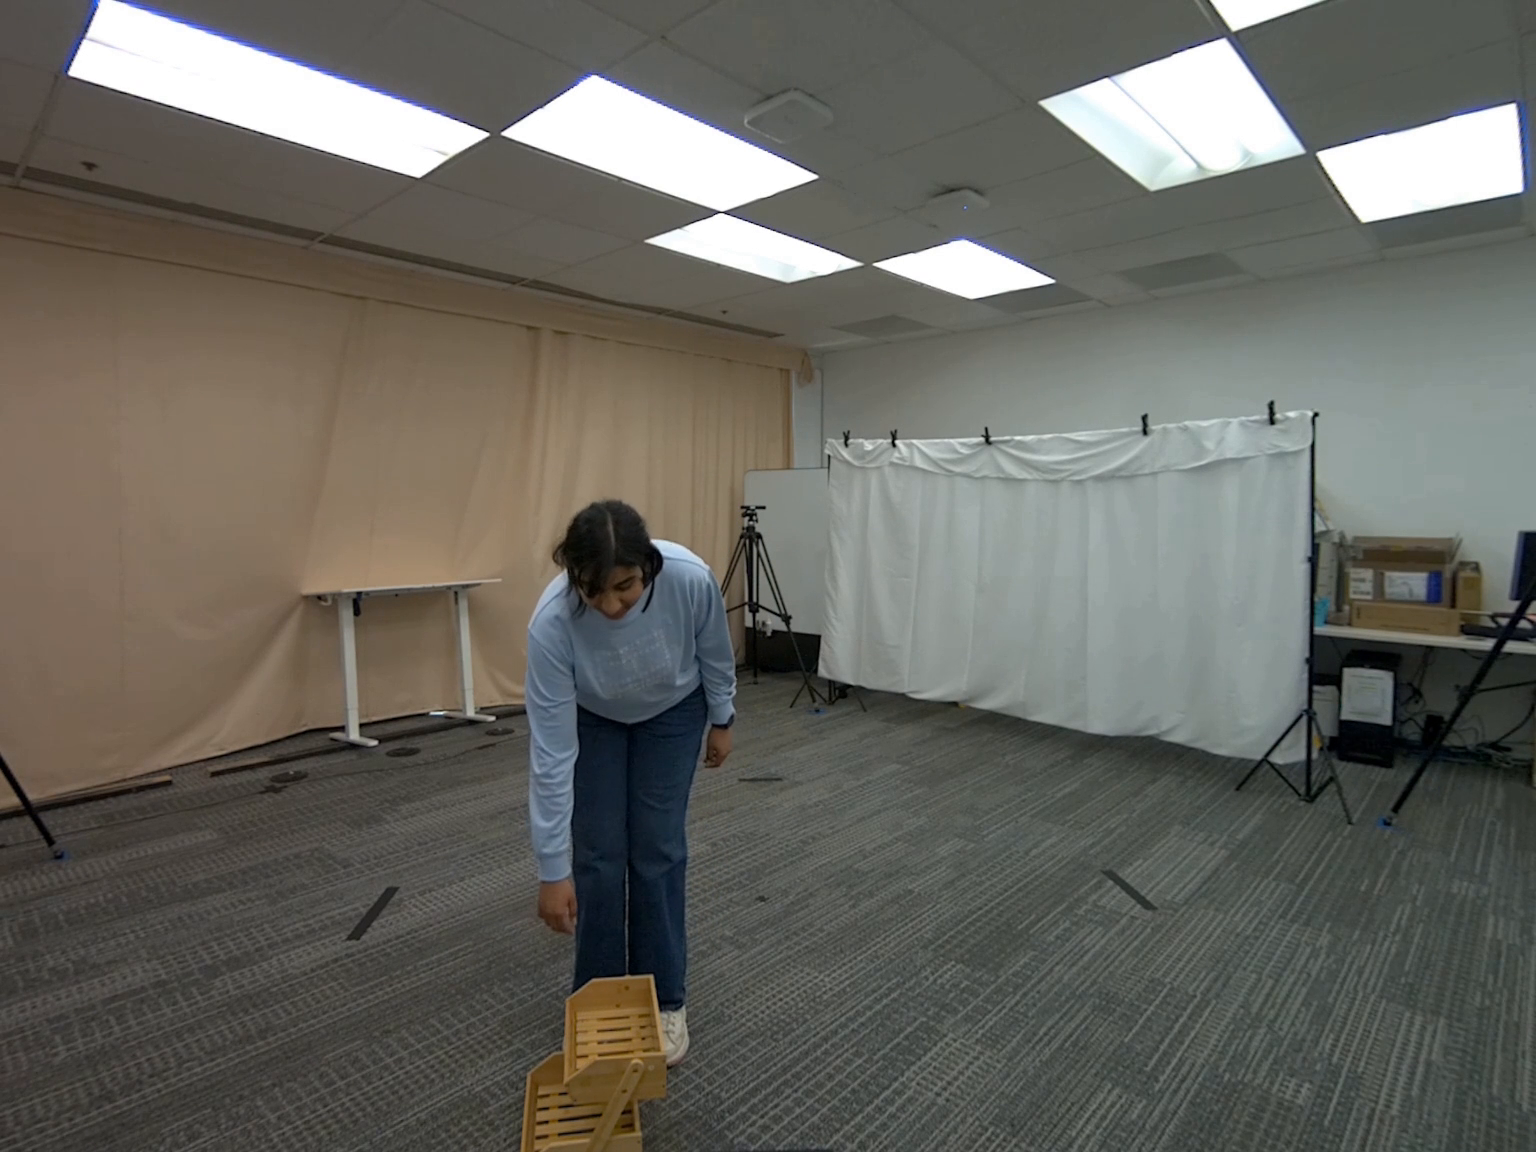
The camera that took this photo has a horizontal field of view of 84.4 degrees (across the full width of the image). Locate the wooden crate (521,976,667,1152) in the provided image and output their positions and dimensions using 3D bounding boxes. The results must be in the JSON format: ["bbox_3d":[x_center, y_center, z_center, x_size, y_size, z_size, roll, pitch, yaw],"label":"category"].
[{"bbox_3d":[-0.395,1.103,1.870,0.299,0.273,0.329,0,4,-11],"label":"wooden crate"}]
